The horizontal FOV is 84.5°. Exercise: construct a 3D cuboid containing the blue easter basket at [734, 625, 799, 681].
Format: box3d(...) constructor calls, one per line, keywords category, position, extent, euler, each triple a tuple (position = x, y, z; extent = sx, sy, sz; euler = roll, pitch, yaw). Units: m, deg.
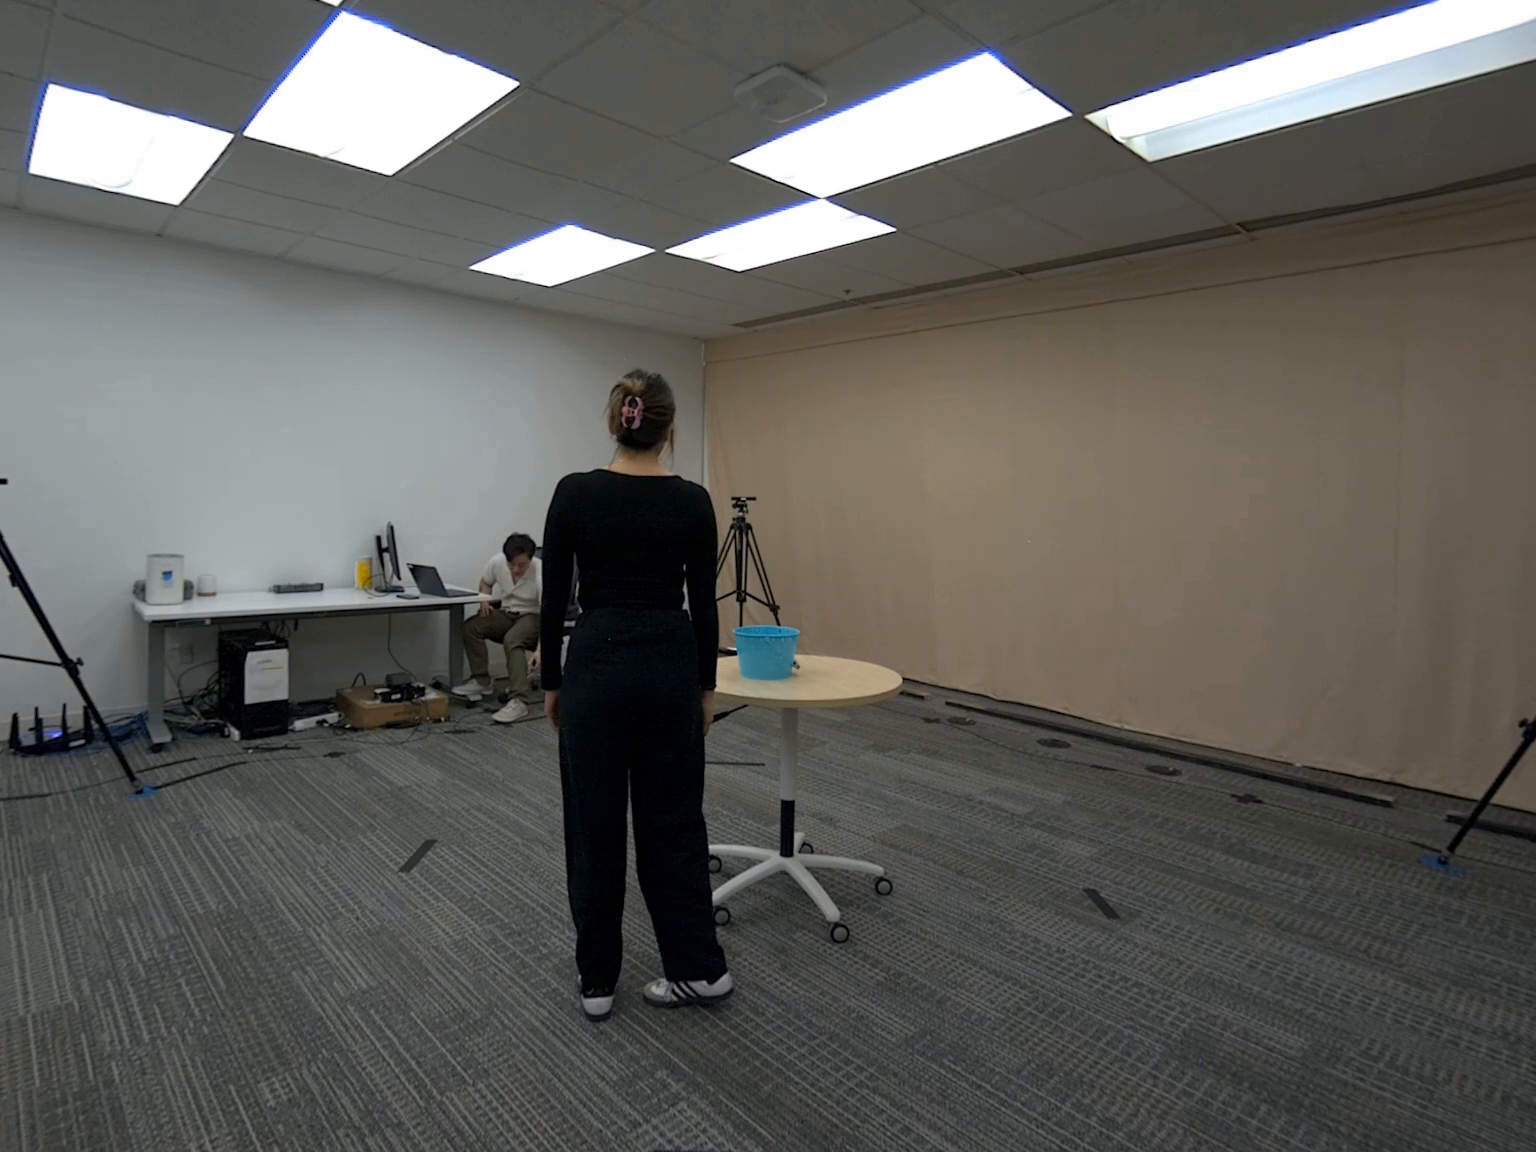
box3d(category="blue easter basket", position=(-0.005, 0.271, 2.917), extent=(0.243, 0.155, 0.244), euler=(0, 5, -1))
